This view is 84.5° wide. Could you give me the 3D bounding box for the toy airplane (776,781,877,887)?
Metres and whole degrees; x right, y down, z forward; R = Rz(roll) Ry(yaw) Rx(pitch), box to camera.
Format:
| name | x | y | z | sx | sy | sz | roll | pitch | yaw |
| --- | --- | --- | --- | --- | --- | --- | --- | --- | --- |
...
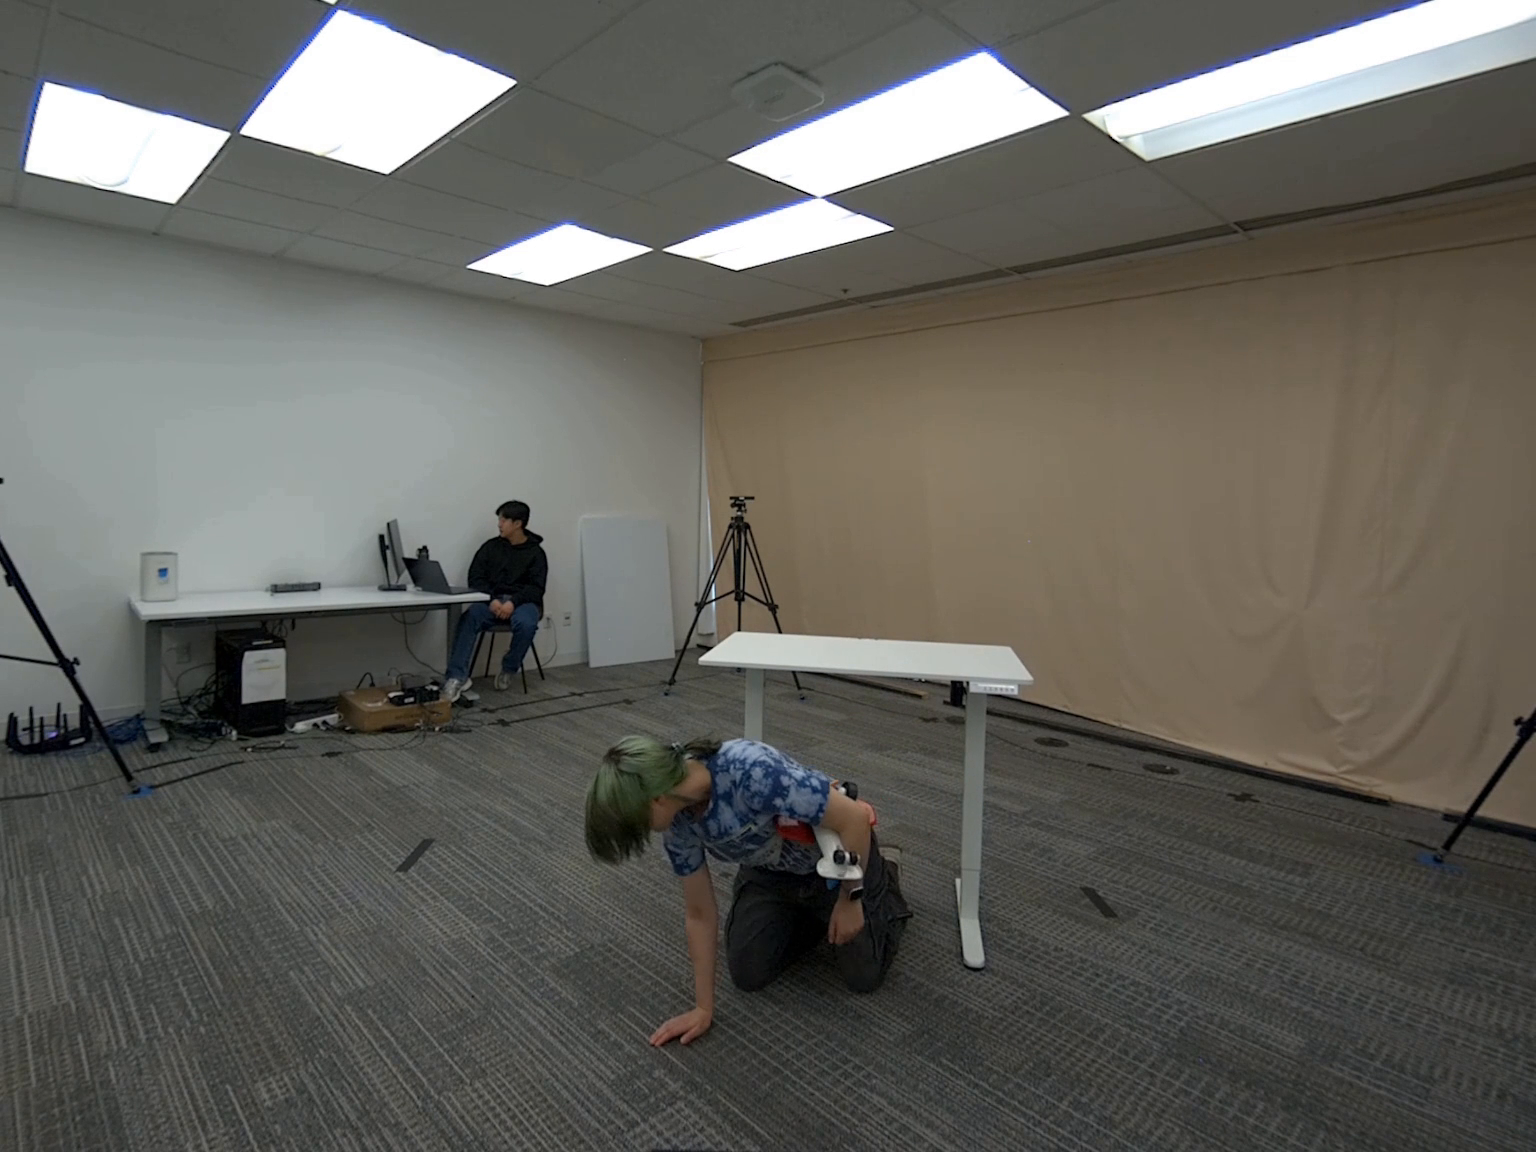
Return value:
| name | x | y | z | sx | sy | sz | roll | pitch | yaw |
| --- | --- | --- | --- | --- | --- | --- | --- | --- | --- |
| toy airplane | 0.140 | 0.653 | 2.123 | 0.252 | 0.155 | 0.261 | 29 | 43 | 2 |
